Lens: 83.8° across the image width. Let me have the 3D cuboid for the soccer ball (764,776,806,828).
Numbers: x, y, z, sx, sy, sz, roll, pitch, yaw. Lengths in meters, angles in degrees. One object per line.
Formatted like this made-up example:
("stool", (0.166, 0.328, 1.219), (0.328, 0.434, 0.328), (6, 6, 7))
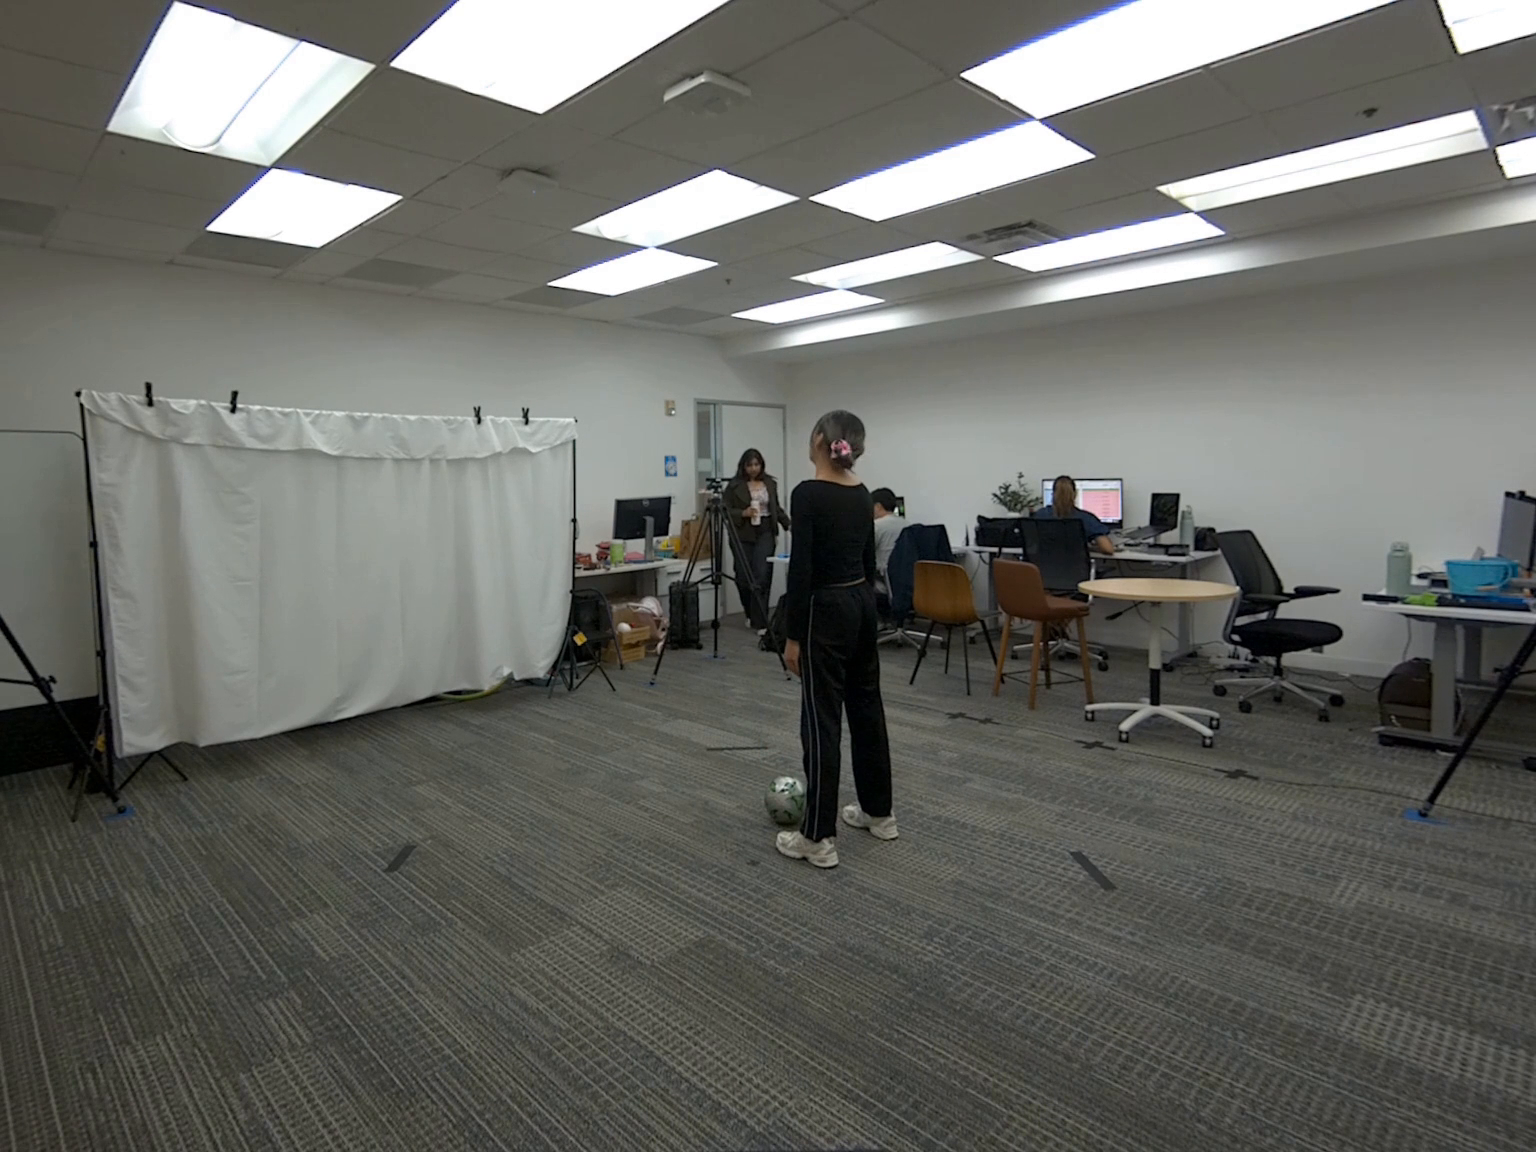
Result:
("soccer ball", (0.078, 0.909, 3.474), (0.187, 0.187, 0.188), (-1, 5, -2))
